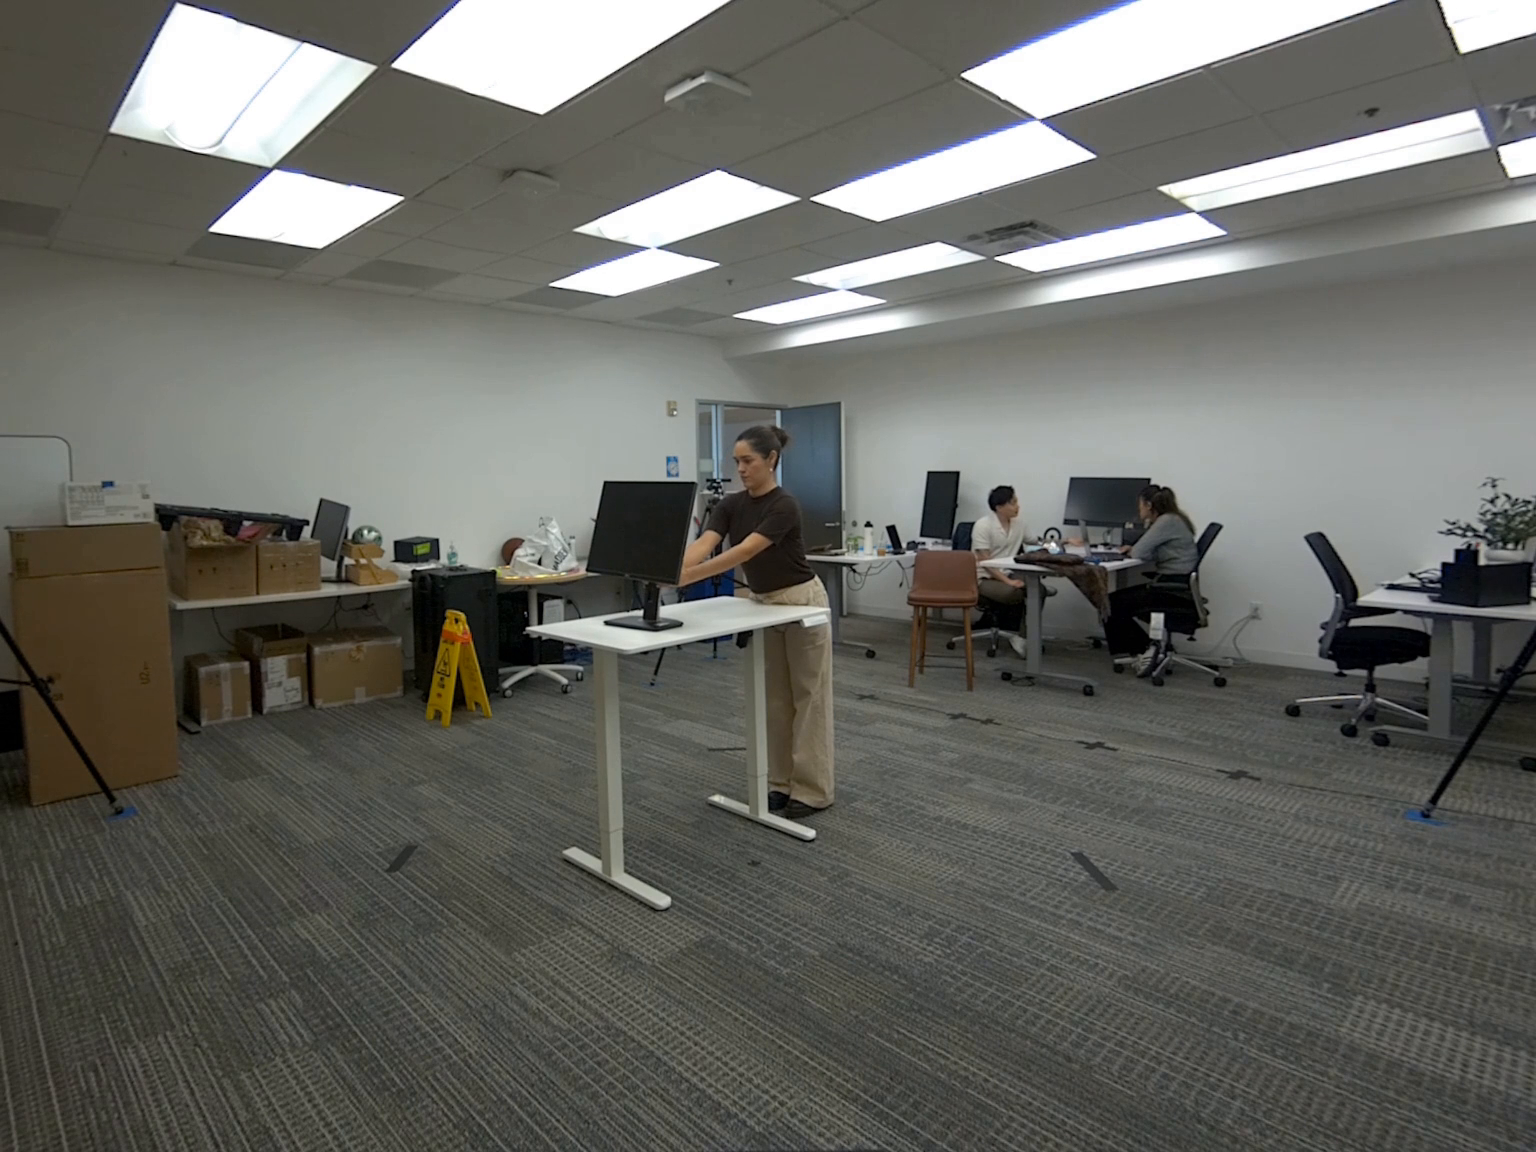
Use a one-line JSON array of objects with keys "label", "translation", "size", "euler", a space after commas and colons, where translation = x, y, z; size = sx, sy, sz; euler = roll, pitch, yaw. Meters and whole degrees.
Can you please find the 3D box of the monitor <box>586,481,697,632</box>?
[{"label": "monitor", "translation": [-0.439, -0.076, 3.054], "size": [0.556, 0.521, 0.182], "euler": [5, 4, 44]}]
